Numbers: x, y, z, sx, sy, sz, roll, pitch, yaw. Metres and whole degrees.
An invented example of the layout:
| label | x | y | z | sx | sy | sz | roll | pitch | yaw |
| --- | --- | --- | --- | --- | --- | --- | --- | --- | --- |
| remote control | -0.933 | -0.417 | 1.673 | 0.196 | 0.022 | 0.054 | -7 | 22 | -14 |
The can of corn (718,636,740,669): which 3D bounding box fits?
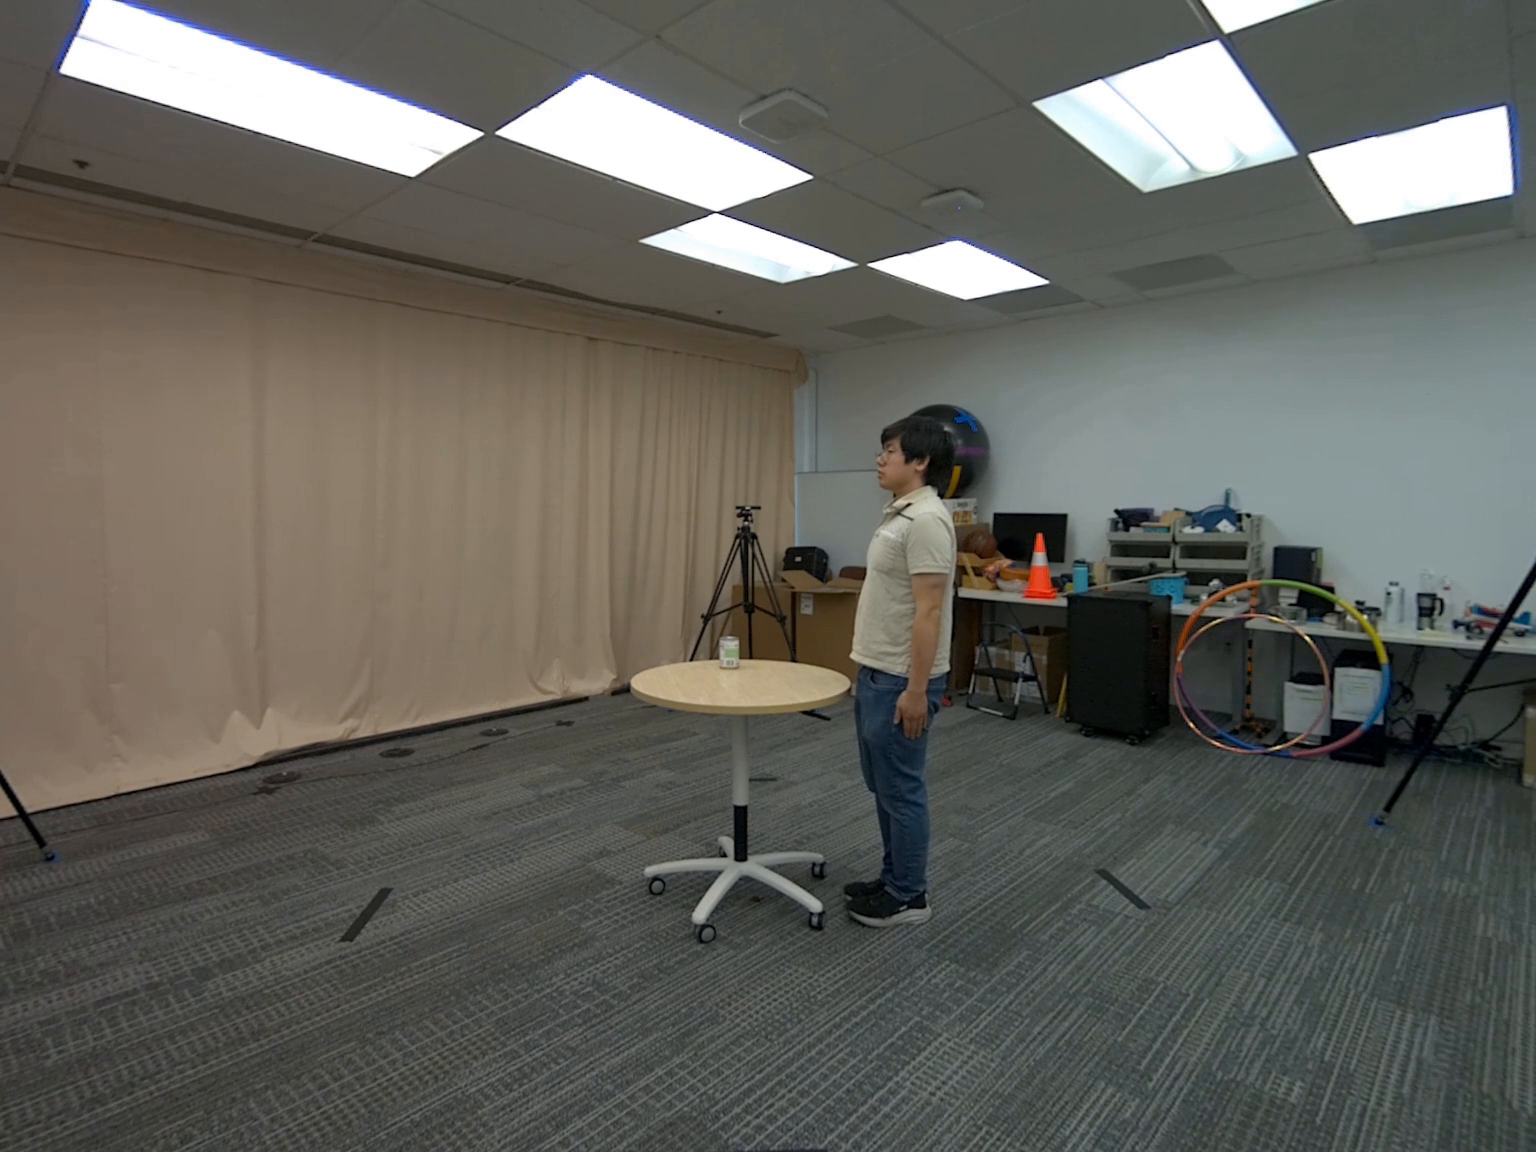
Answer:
| label | x | y | z | sx | sy | sz | roll | pitch | yaw |
| --- | --- | --- | --- | --- | --- | --- | --- | --- | --- |
| can of corn | -0.137 | 0.289 | 3.159 | 0.074 | 0.111 | 0.074 | 1 | 4 | -2 |
